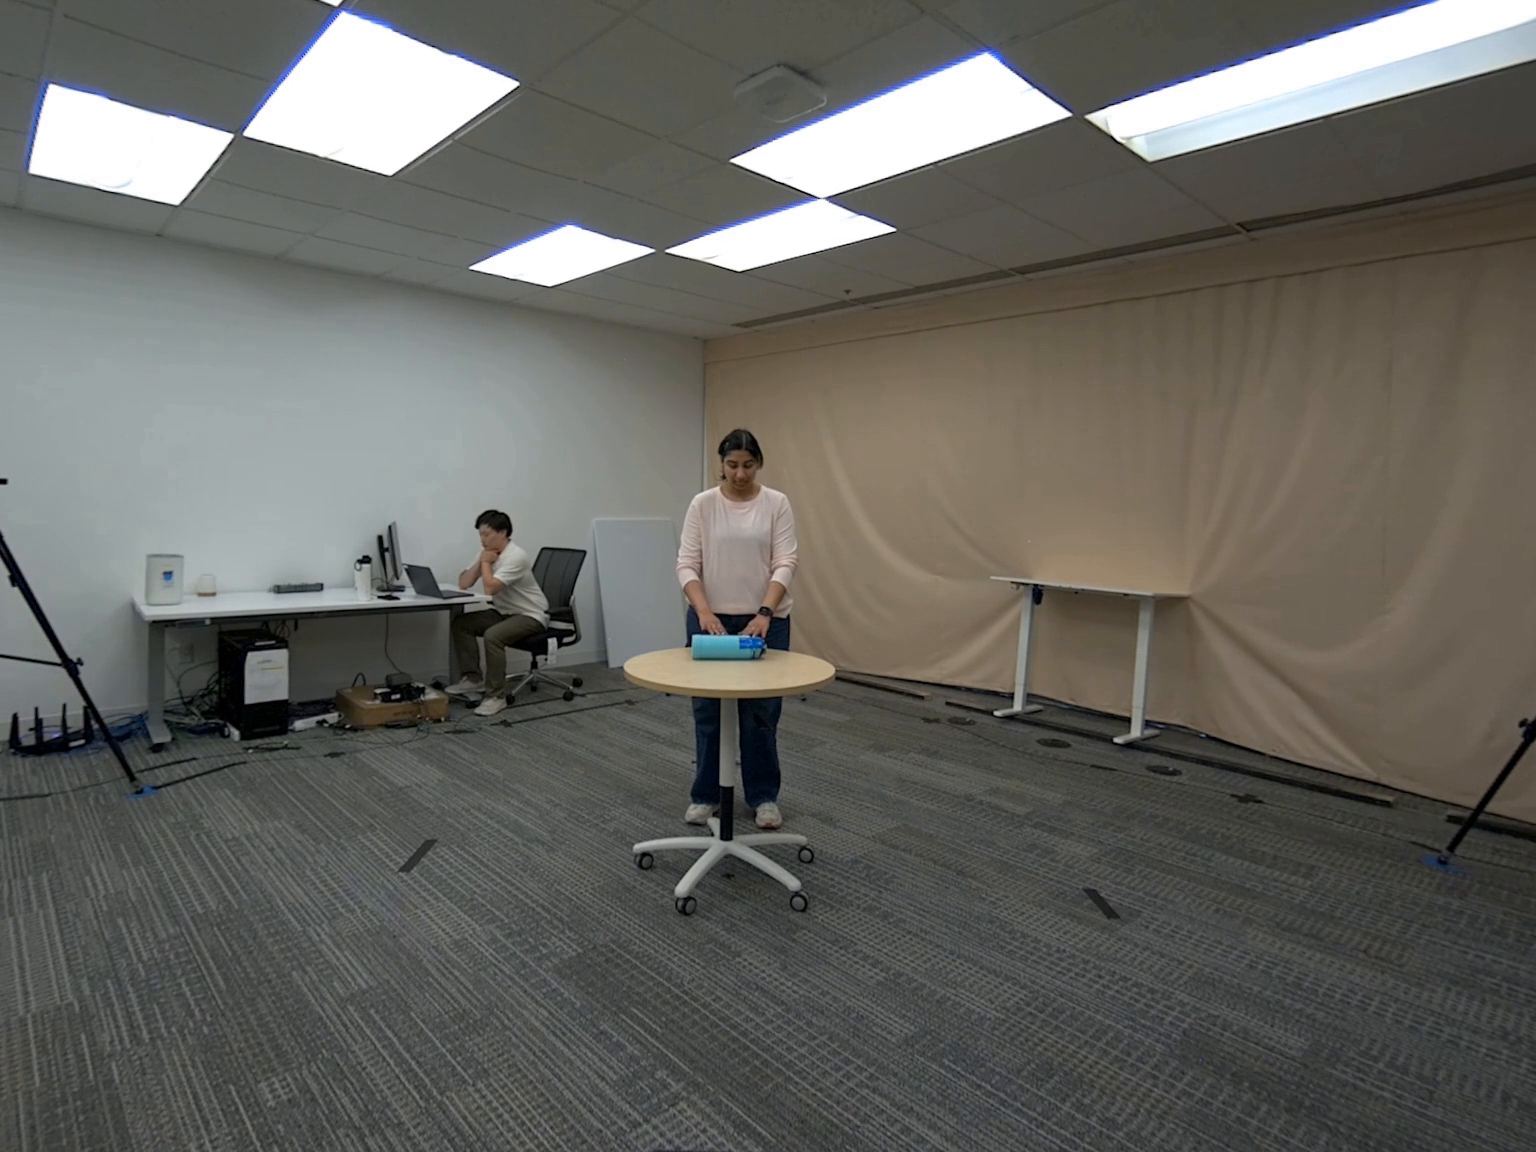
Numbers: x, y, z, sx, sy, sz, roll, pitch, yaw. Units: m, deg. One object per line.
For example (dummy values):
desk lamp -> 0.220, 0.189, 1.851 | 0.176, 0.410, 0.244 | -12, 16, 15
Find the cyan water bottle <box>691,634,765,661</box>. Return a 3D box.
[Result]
cyan water bottle -> -0.157, 0.271, 3.179 | 0.282, 0.092, 0.093 | 1, 4, -4
